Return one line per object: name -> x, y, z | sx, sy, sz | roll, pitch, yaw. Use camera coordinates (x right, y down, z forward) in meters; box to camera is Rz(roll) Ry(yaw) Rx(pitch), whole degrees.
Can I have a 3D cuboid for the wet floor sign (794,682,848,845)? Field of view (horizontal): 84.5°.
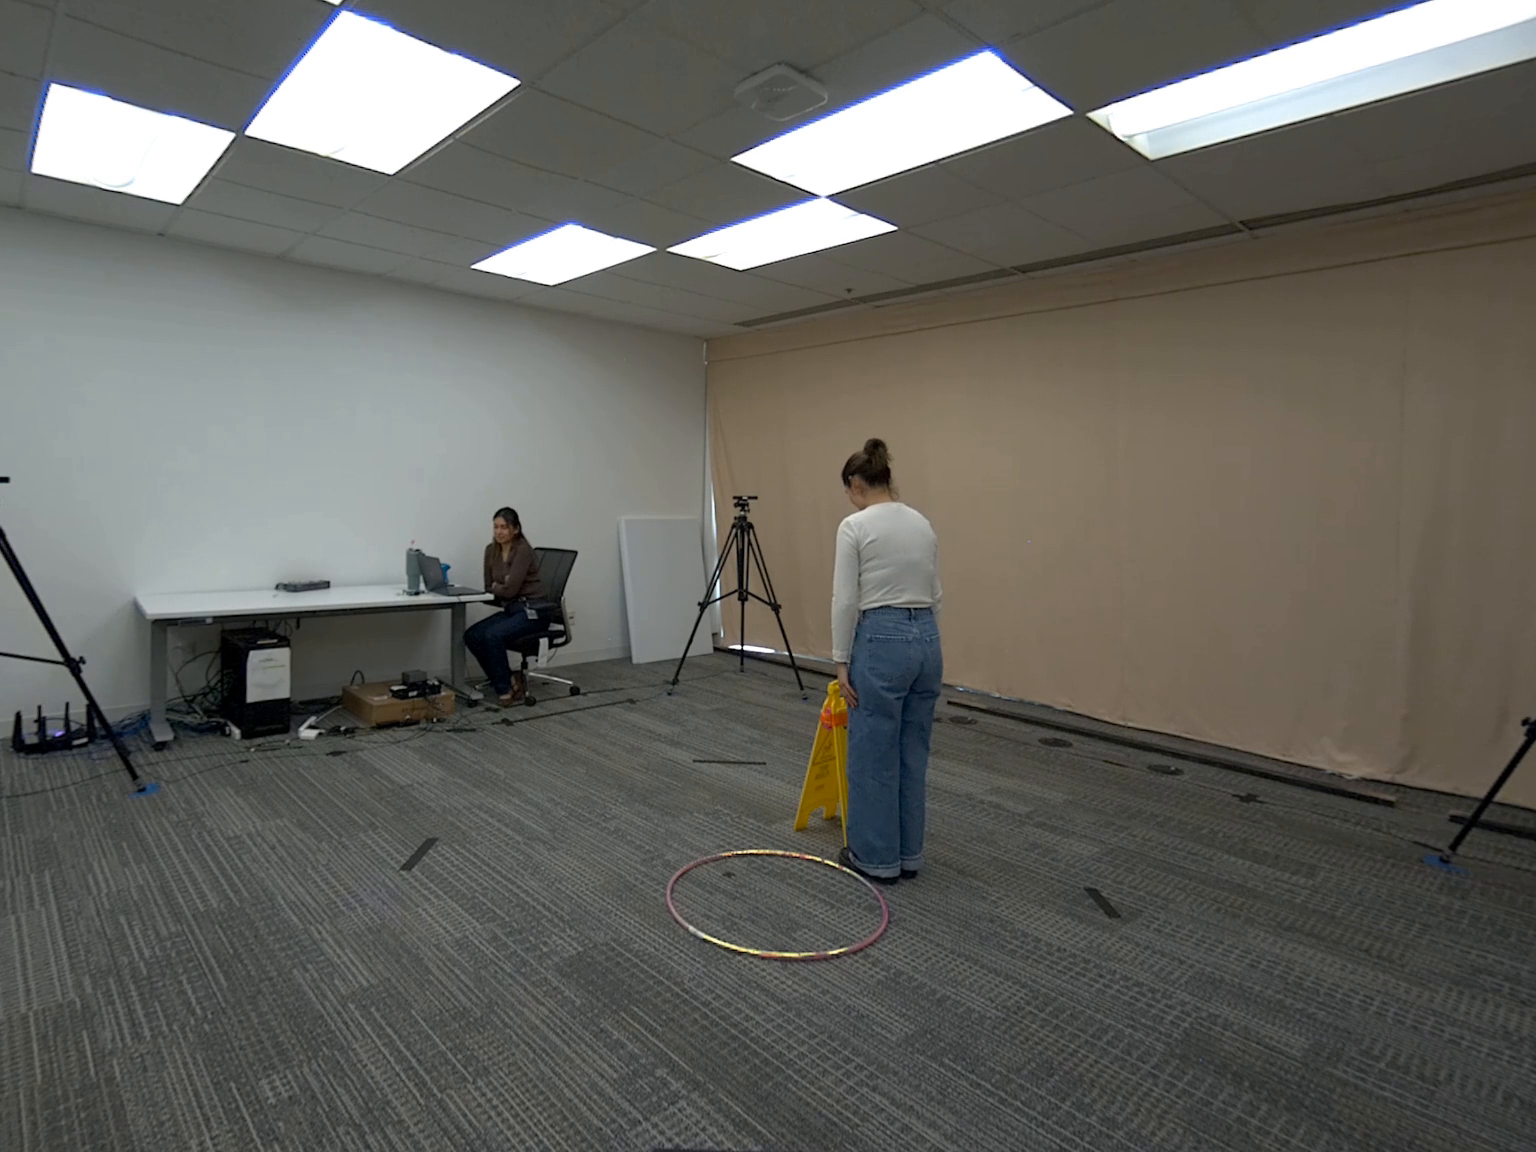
wet floor sign -> 0.301, 0.751, 3.518 | 0.297, 0.645, 0.275 | 4, 3, 43
